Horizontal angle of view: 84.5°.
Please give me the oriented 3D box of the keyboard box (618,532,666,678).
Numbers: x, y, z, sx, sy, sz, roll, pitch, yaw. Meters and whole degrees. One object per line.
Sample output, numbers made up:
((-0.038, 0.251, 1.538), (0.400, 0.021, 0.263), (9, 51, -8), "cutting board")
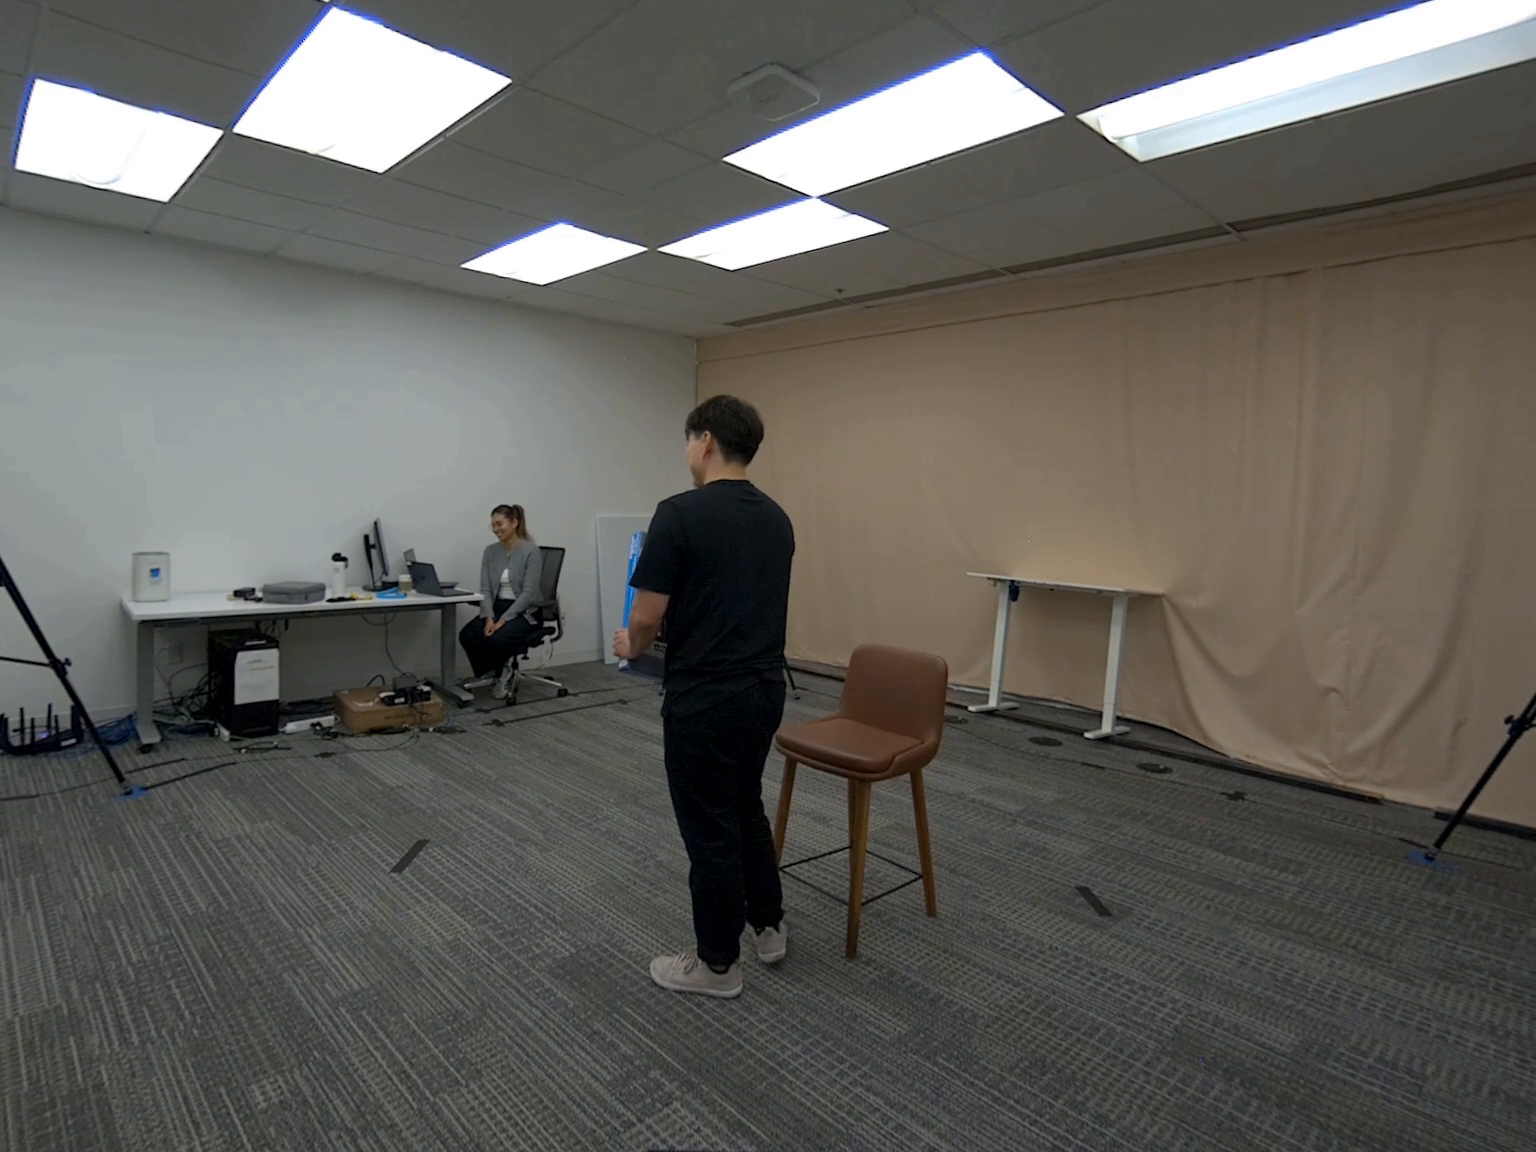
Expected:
((-0.354, 0.095, 2.576), (0.171, 0.443, 0.060), (21, -29, -35), "keyboard box")
